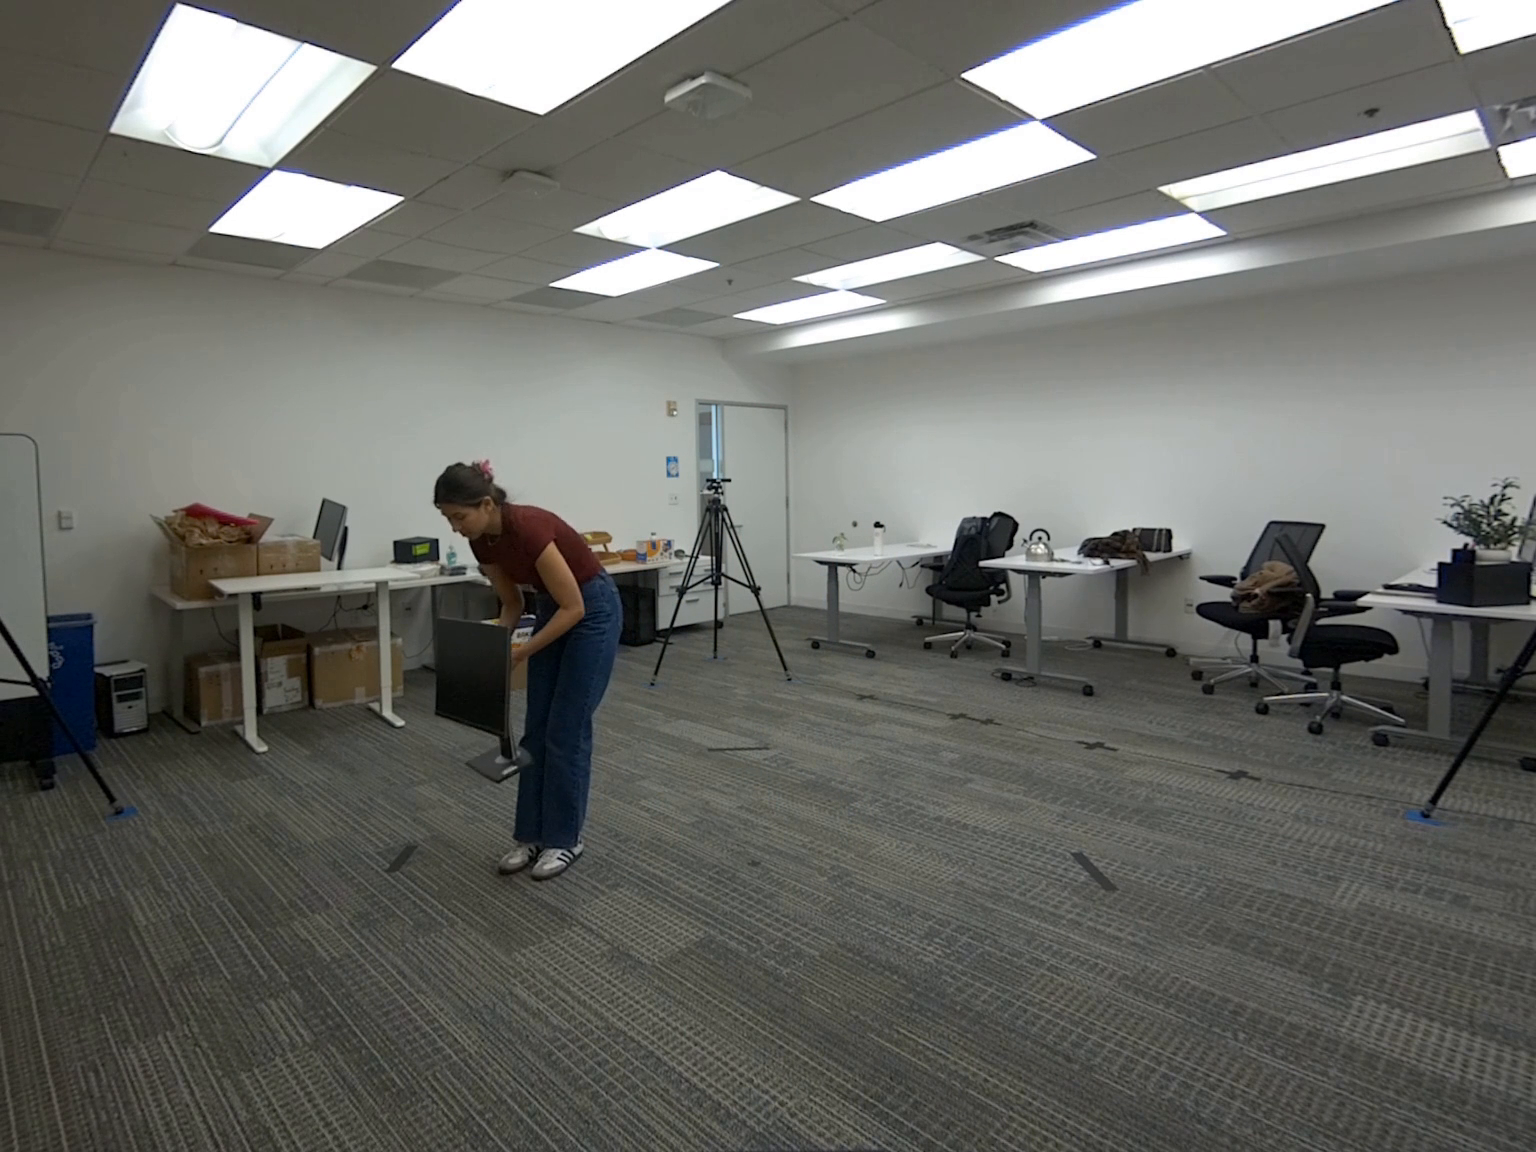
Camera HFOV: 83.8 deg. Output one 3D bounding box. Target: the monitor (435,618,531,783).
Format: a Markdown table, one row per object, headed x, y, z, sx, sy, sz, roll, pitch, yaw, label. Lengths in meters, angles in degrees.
| x | y | z | sx | sy | sz | roll | pitch | yaw | label |
| --- | --- | --- | --- | --- | --- | --- | --- | --- | --- |
| -0.979 | 0.416 | 2.926 | 0.183 | 0.518 | 0.555 | -17 | 12 | -42 | monitor |
